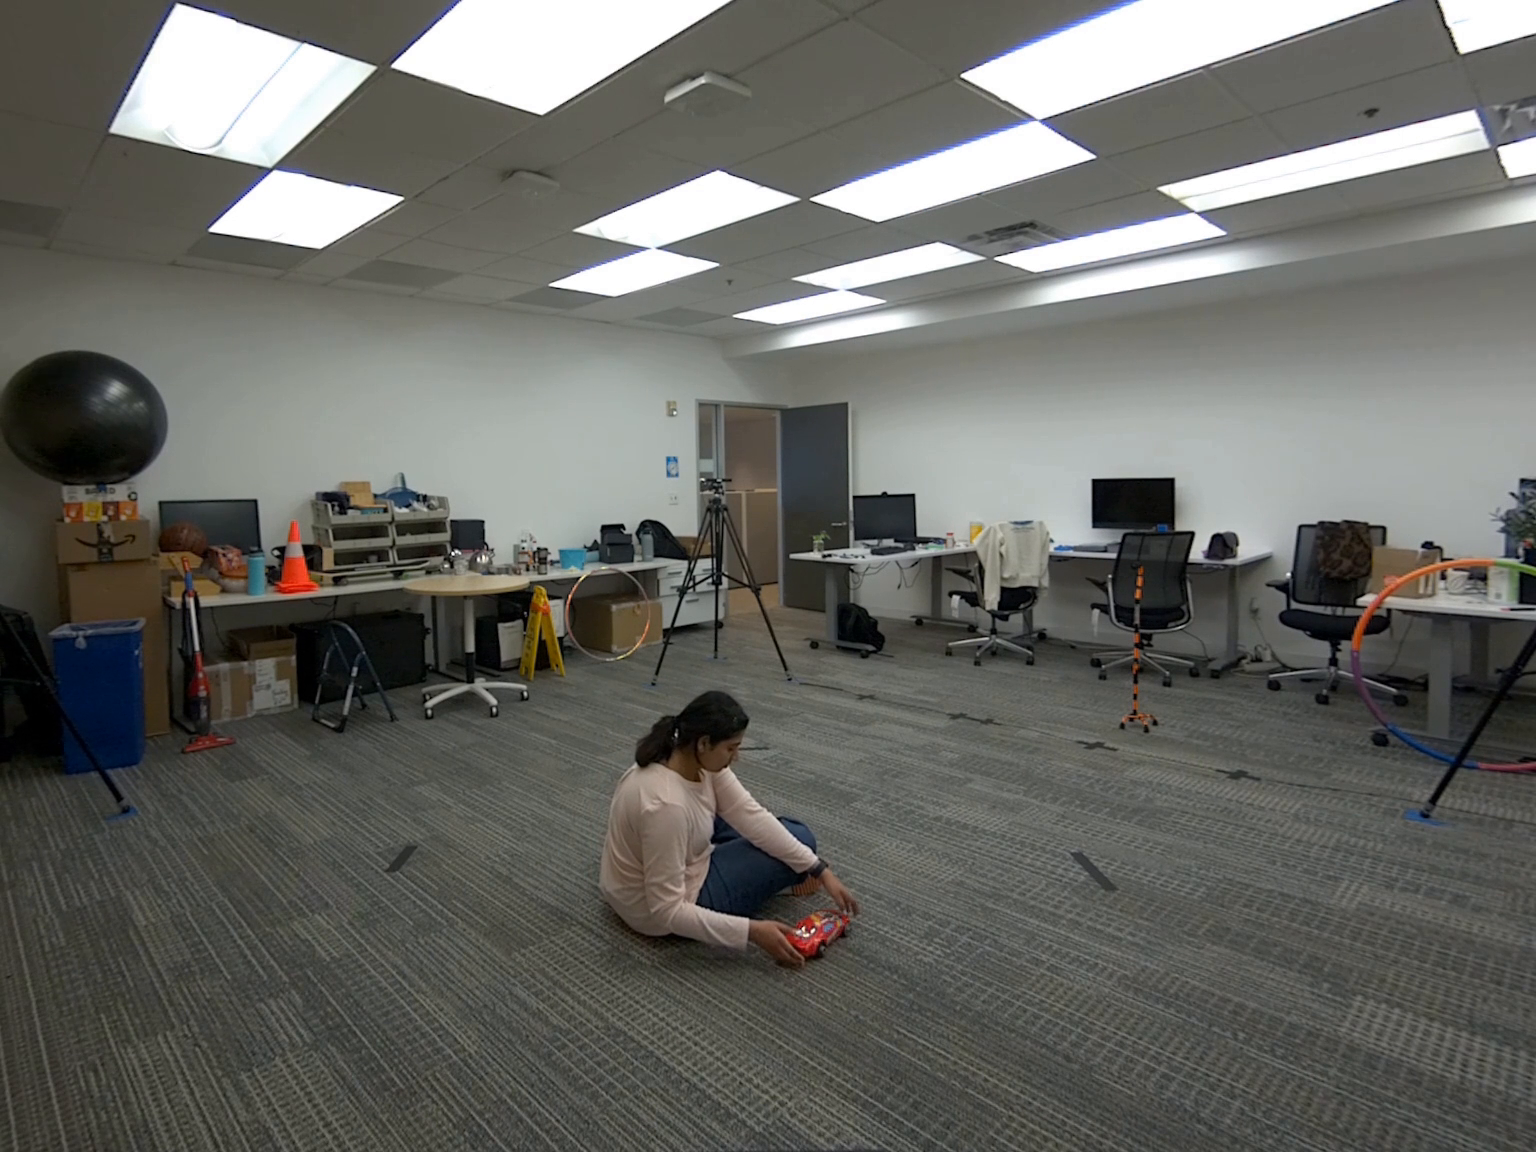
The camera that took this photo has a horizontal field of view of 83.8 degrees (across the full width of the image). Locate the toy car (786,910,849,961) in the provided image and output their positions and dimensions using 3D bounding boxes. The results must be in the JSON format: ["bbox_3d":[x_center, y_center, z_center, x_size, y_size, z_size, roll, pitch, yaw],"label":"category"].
[{"bbox_3d":[0.136,1.067,2.559,0.134,0.083,0.246,4,-5,38],"label":"toy car"}]
